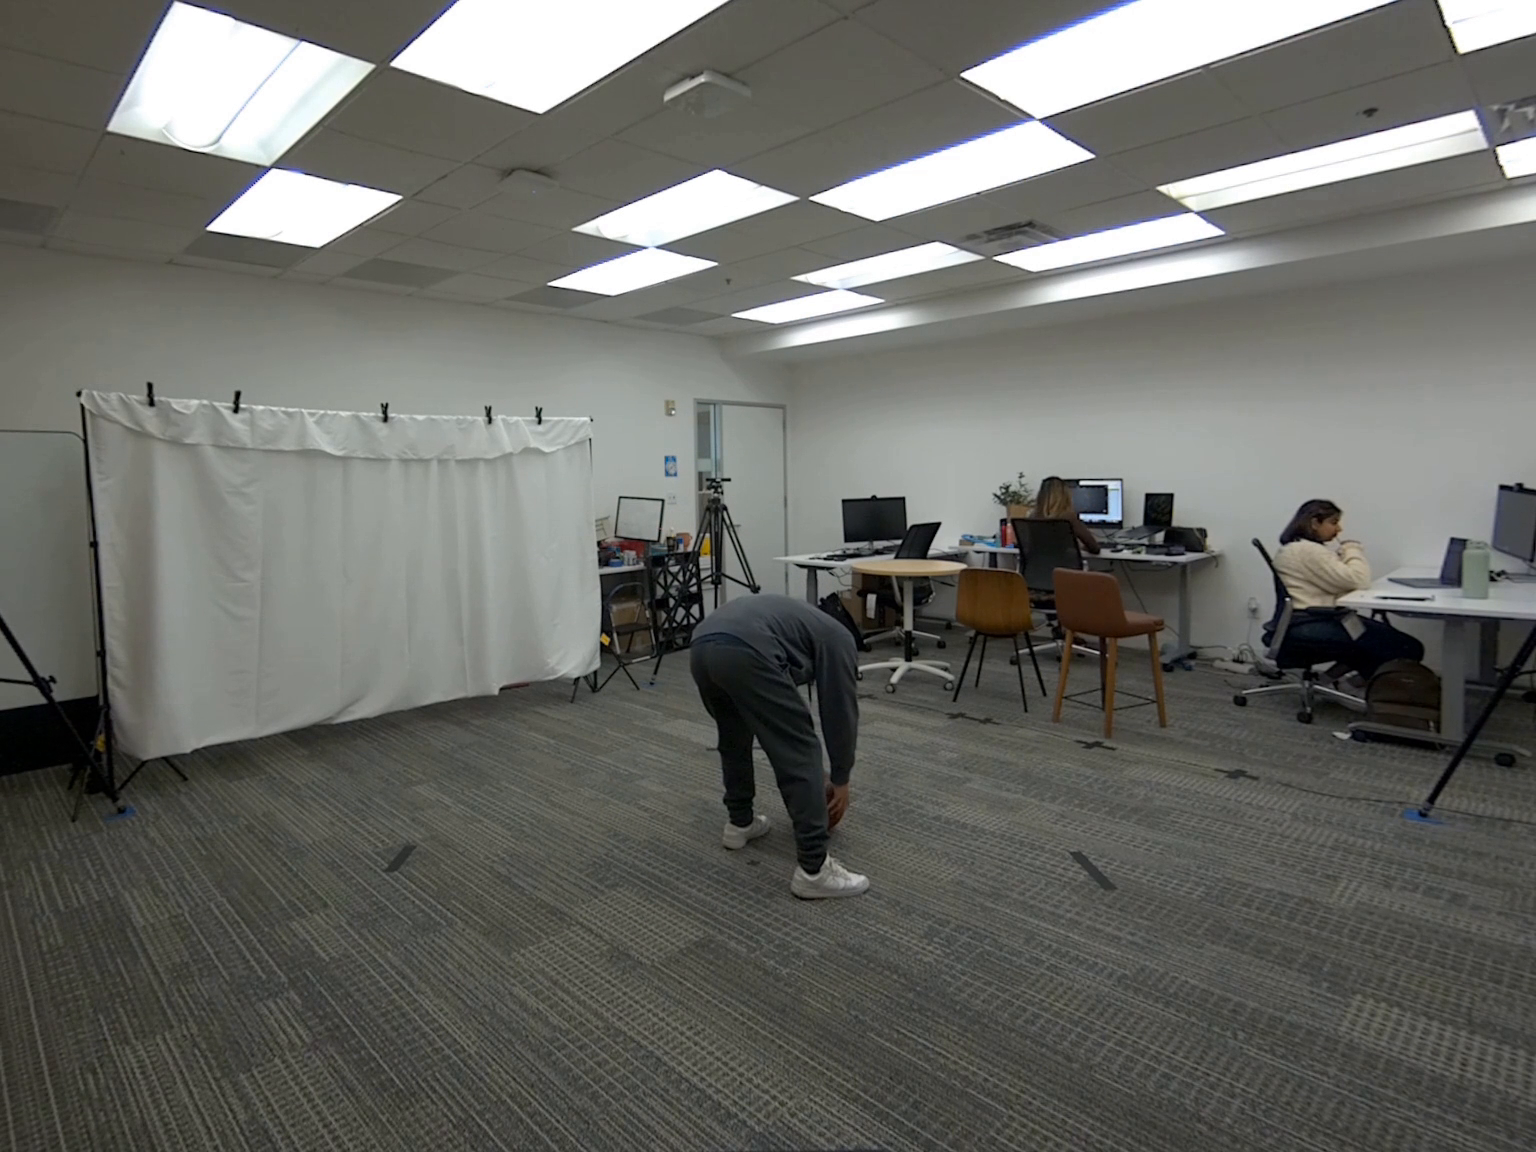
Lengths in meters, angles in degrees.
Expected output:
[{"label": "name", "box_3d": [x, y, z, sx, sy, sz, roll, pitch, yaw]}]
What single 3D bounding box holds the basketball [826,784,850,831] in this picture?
[{"label": "basketball", "box_3d": [0.190, 0.882, 3.381, 0.236, 0.235, 0.237, -1, 5, -2]}]
